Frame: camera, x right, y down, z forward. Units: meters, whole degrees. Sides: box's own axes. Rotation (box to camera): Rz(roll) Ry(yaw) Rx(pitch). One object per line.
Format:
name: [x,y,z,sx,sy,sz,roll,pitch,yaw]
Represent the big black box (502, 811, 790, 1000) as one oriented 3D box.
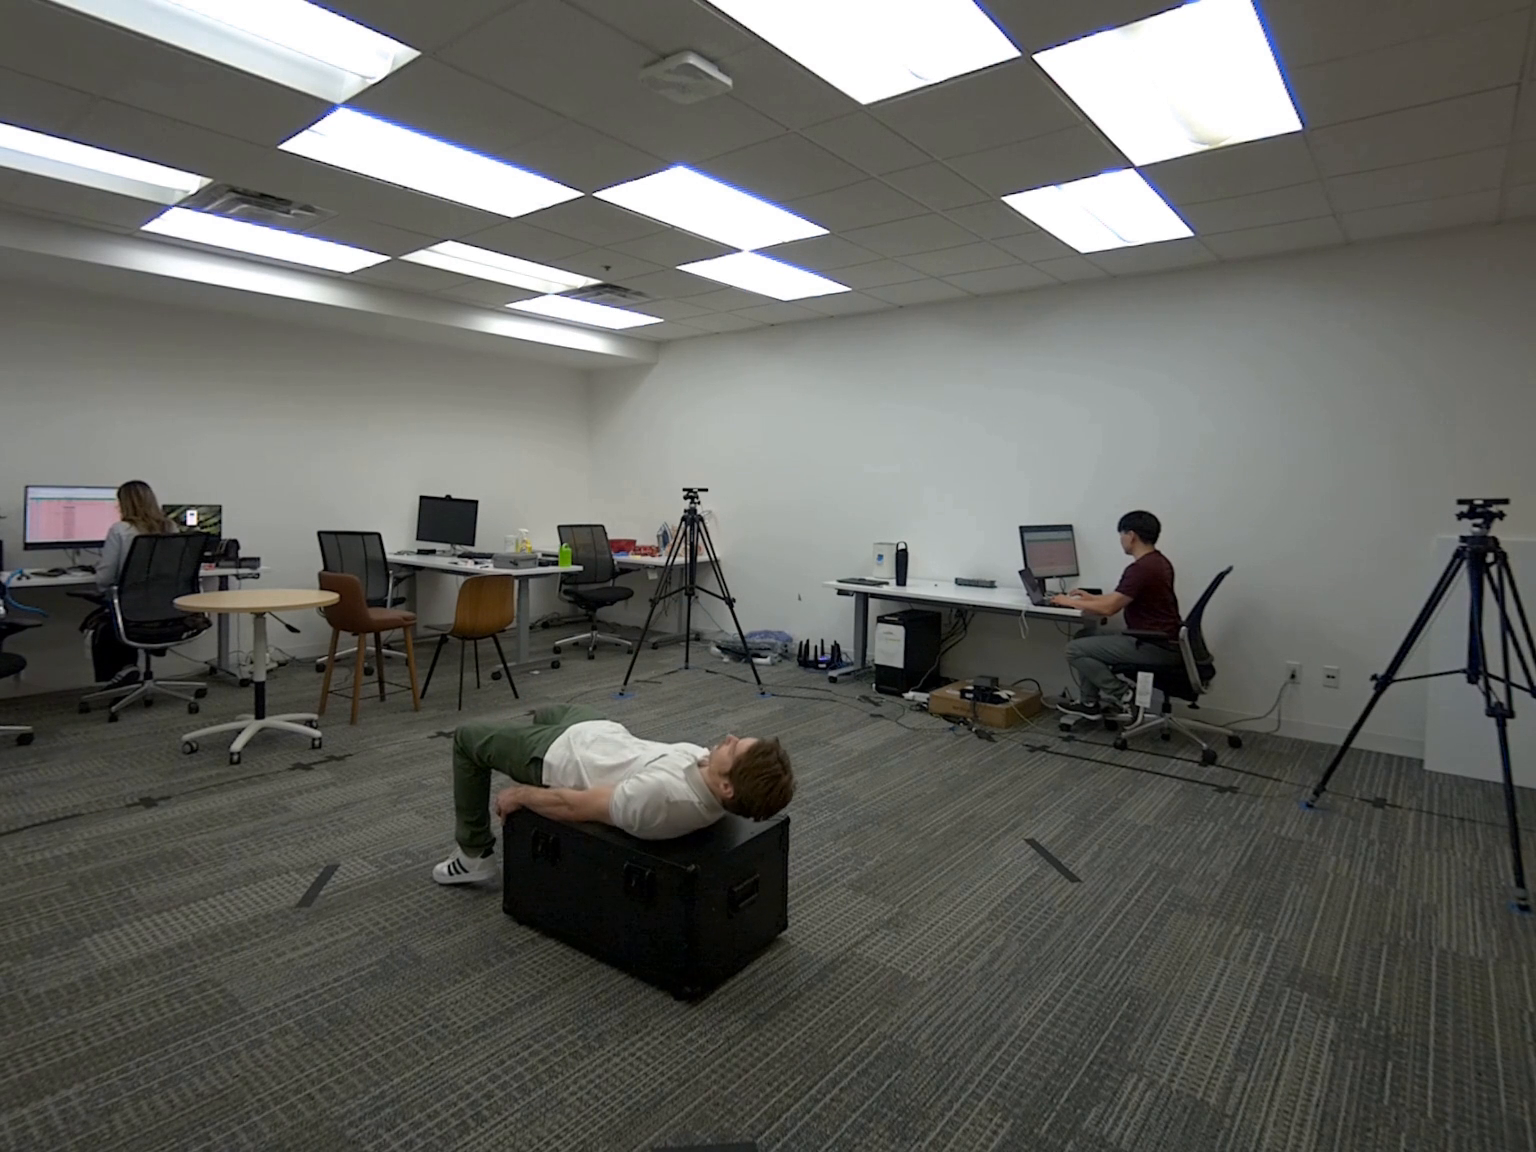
big black box: [-0.427,0.913,2.702,0.896,0.384,0.509,4,6,35]
